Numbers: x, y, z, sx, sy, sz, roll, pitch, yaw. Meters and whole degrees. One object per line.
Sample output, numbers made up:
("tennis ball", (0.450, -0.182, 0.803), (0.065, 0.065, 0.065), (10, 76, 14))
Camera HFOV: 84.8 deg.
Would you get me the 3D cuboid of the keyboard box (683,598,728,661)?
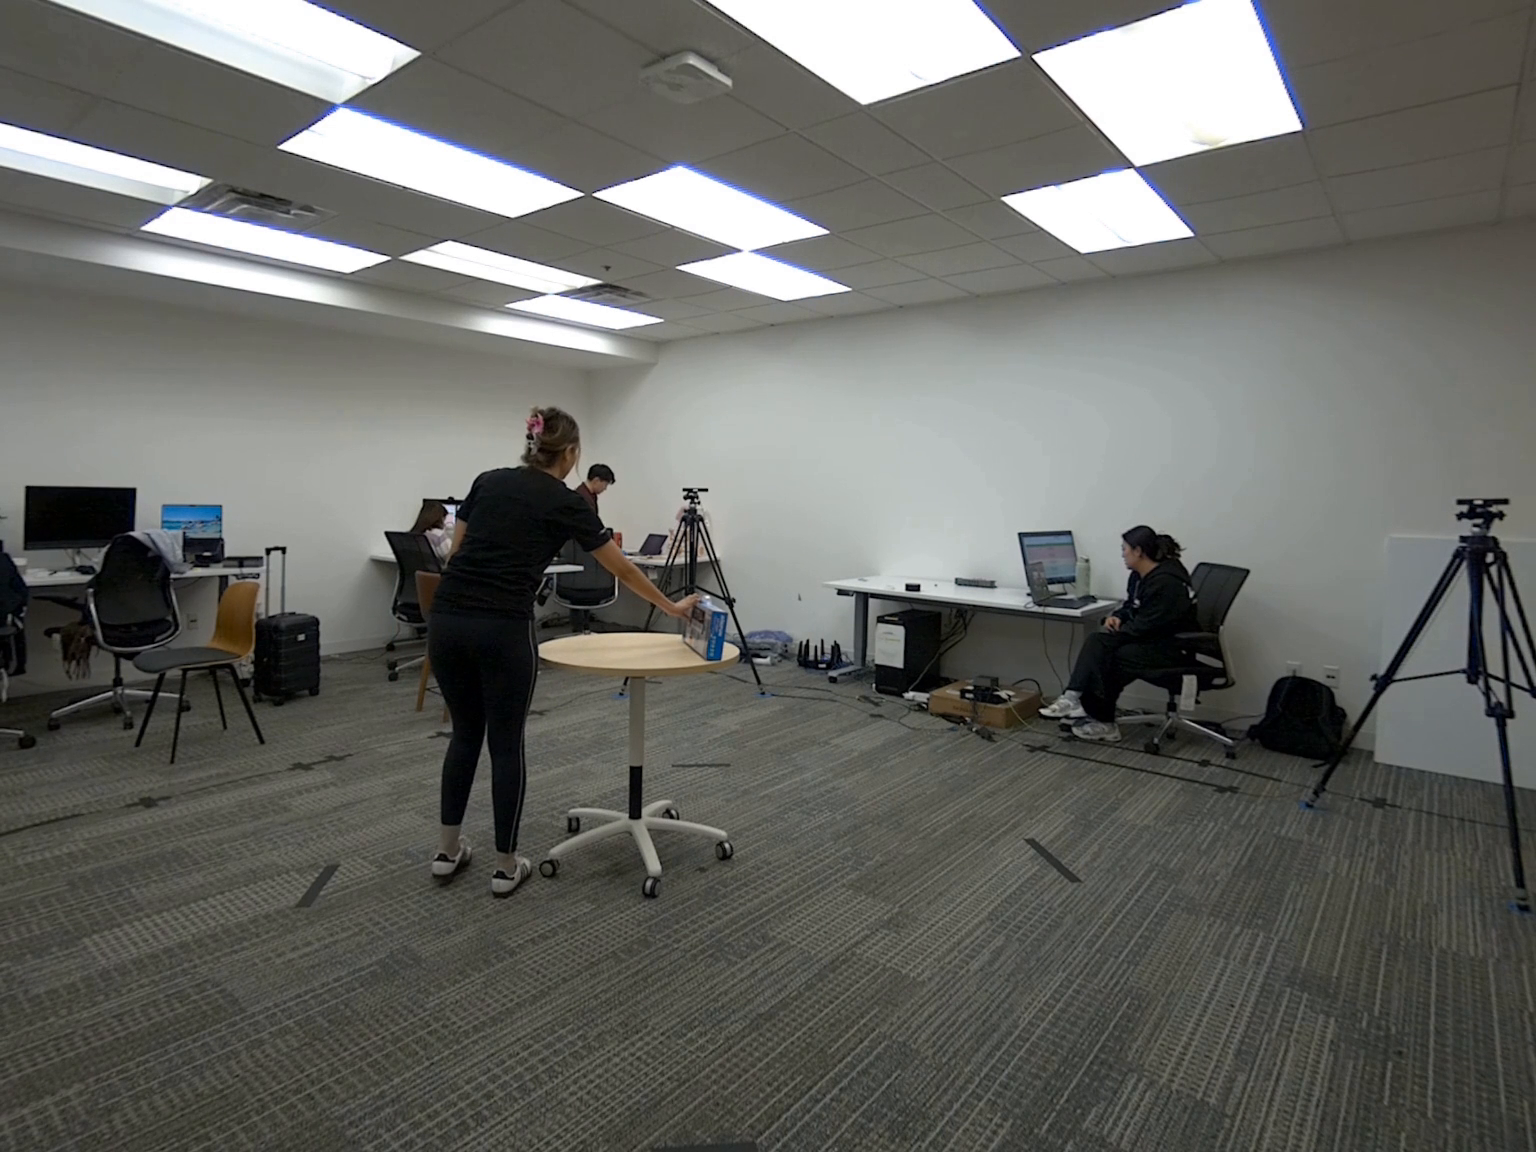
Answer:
("keyboard box", (-0.257, 0.194, 3.189), (0.058, 0.176, 0.445), (6, 3, -17))
